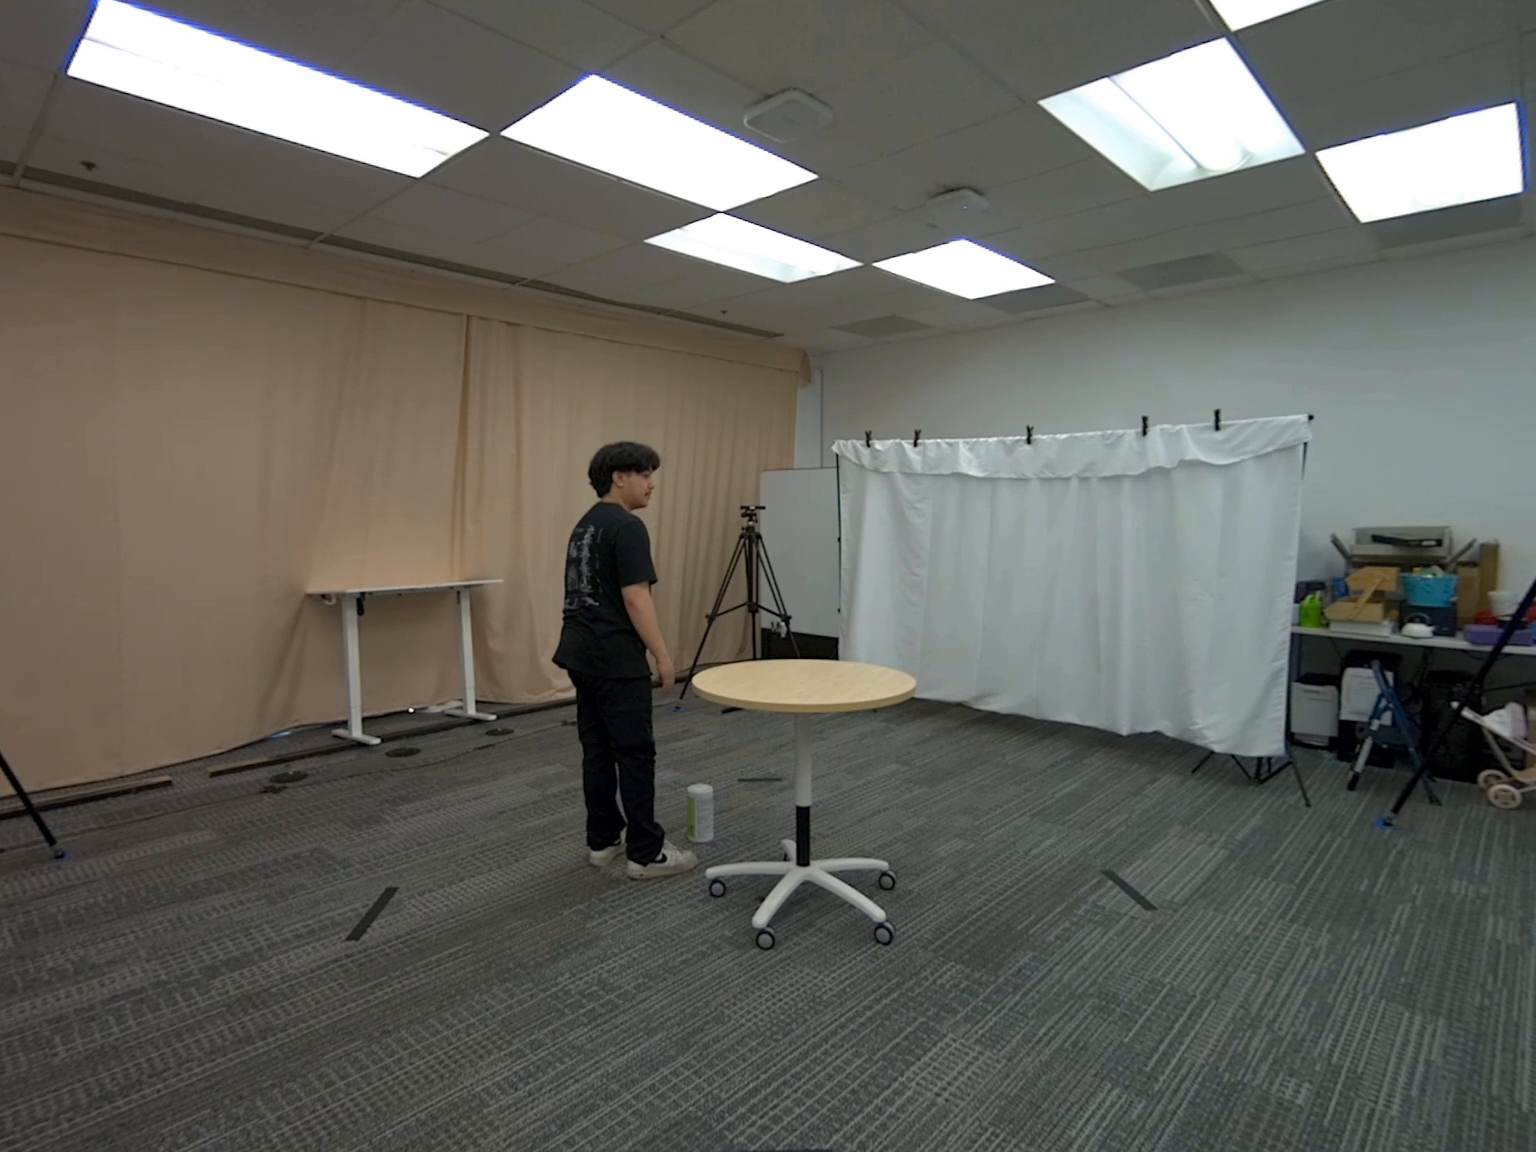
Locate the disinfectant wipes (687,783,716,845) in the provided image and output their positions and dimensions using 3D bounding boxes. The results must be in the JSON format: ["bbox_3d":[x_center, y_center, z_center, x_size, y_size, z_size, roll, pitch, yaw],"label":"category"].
[{"bbox_3d":[-0.277,0.999,3.538,0.118,0.217,0.118,-3,4,-2],"label":"disinfectant wipes"}]
